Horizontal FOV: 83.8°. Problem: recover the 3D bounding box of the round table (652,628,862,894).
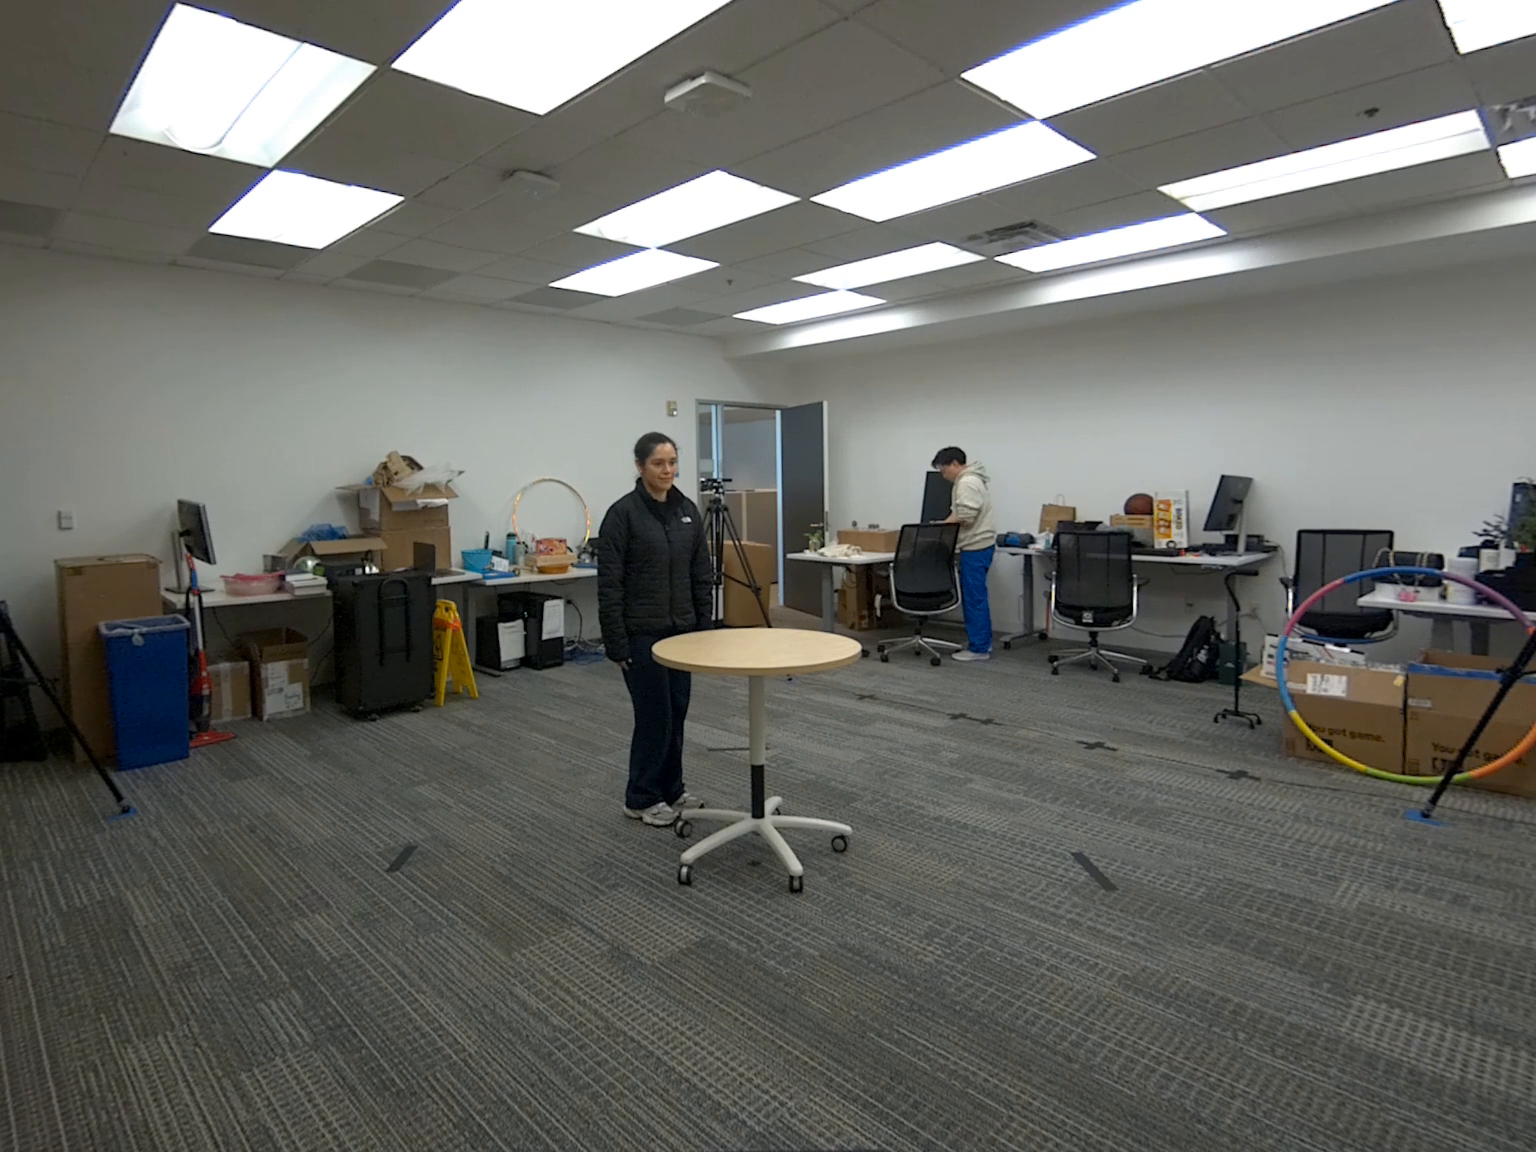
[{"bbox_3d":[-0.035,0.644,3.184,0.784,0.783,0.789,-1,5,-2],"label":"round table"}]
